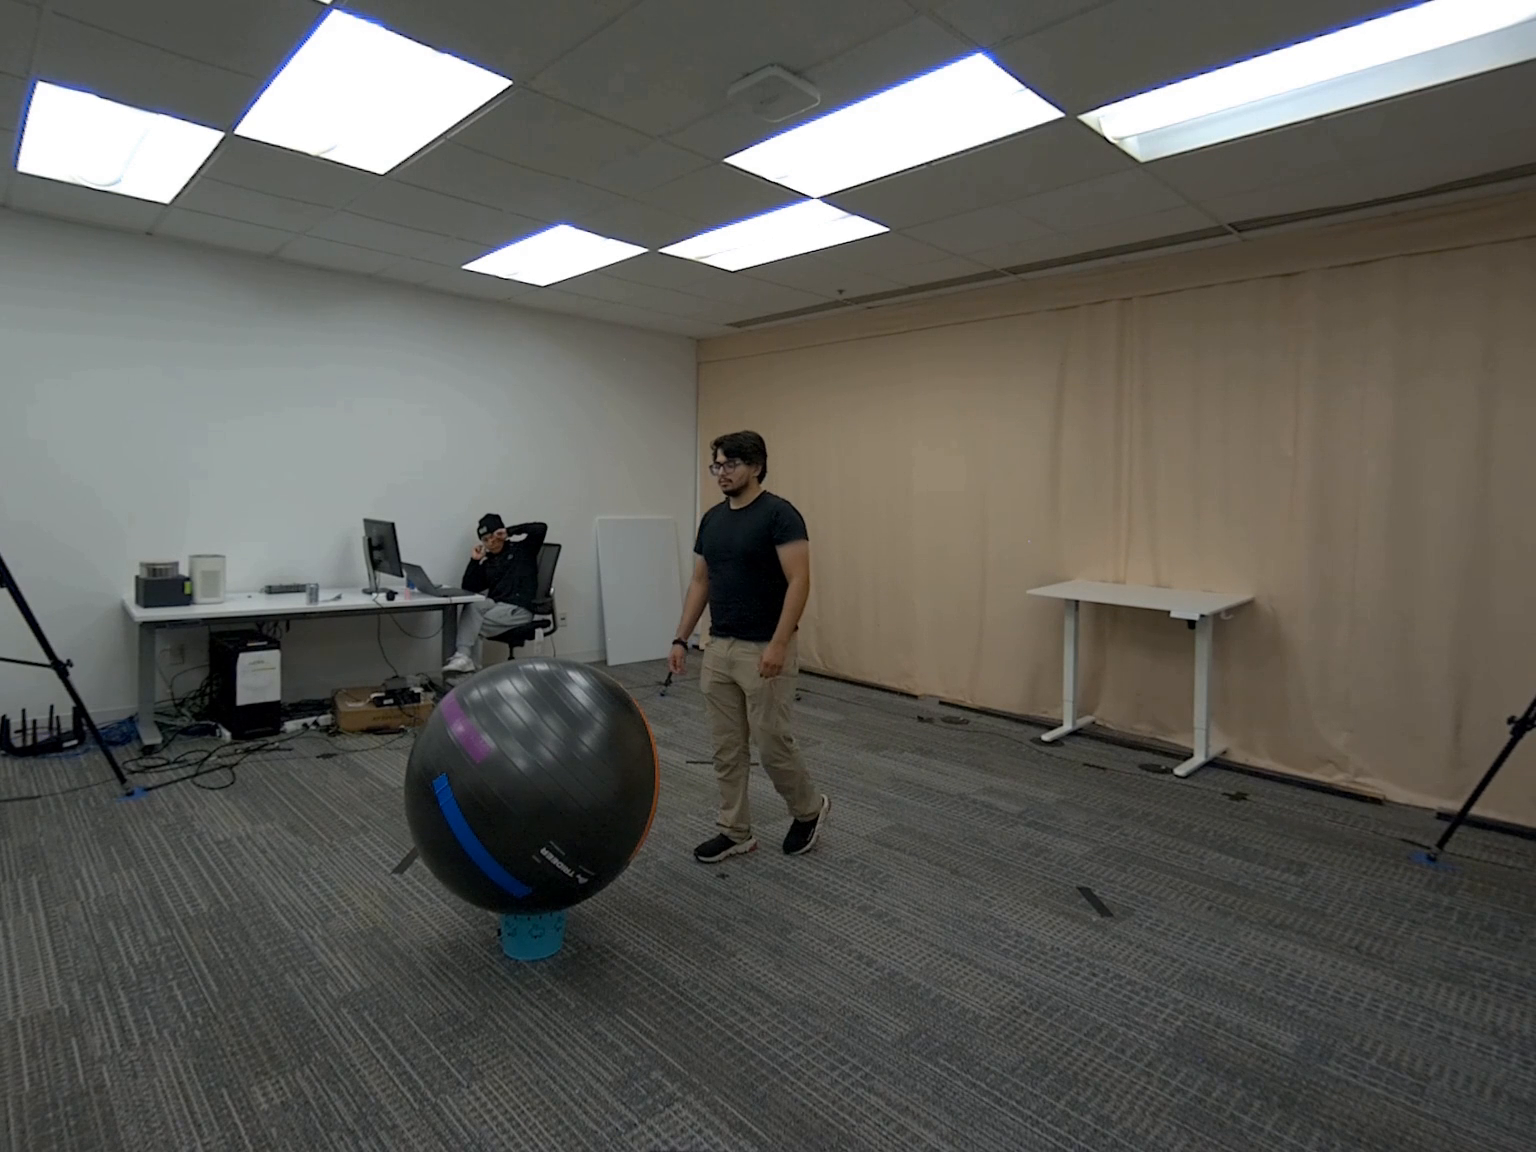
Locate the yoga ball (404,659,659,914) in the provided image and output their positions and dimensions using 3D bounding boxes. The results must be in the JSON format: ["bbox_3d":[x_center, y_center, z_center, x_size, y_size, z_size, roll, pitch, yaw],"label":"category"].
[{"bbox_3d":[-0.715,0.635,2.582,0.757,0.756,0.761,1,4,-1],"label":"yoga ball"}]
